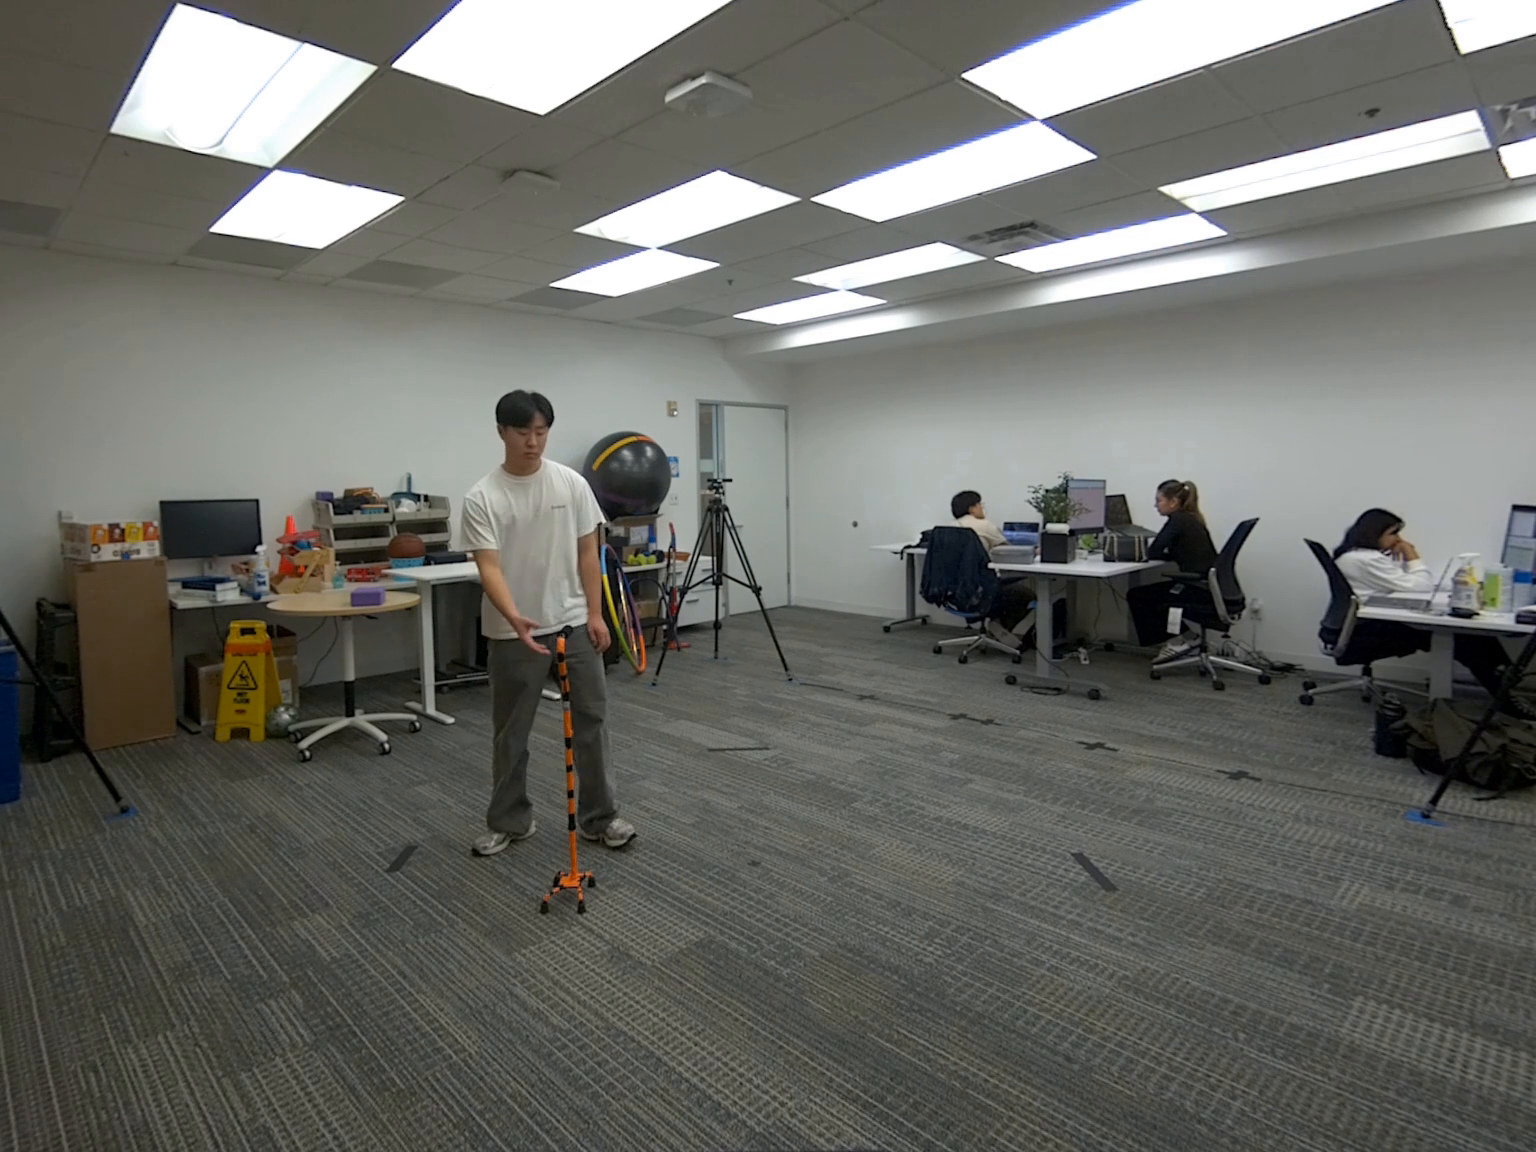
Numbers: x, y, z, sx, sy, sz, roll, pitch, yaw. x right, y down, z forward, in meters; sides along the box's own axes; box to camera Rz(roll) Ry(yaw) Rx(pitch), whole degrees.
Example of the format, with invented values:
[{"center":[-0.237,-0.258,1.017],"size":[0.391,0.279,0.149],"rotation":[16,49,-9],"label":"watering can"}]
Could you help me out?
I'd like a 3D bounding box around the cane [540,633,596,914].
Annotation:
[{"center":[-0.676,0.635,2.842],"size":[0.152,0.904,0.207],"rotation":[-1,4,-1],"label":"cane"}]
